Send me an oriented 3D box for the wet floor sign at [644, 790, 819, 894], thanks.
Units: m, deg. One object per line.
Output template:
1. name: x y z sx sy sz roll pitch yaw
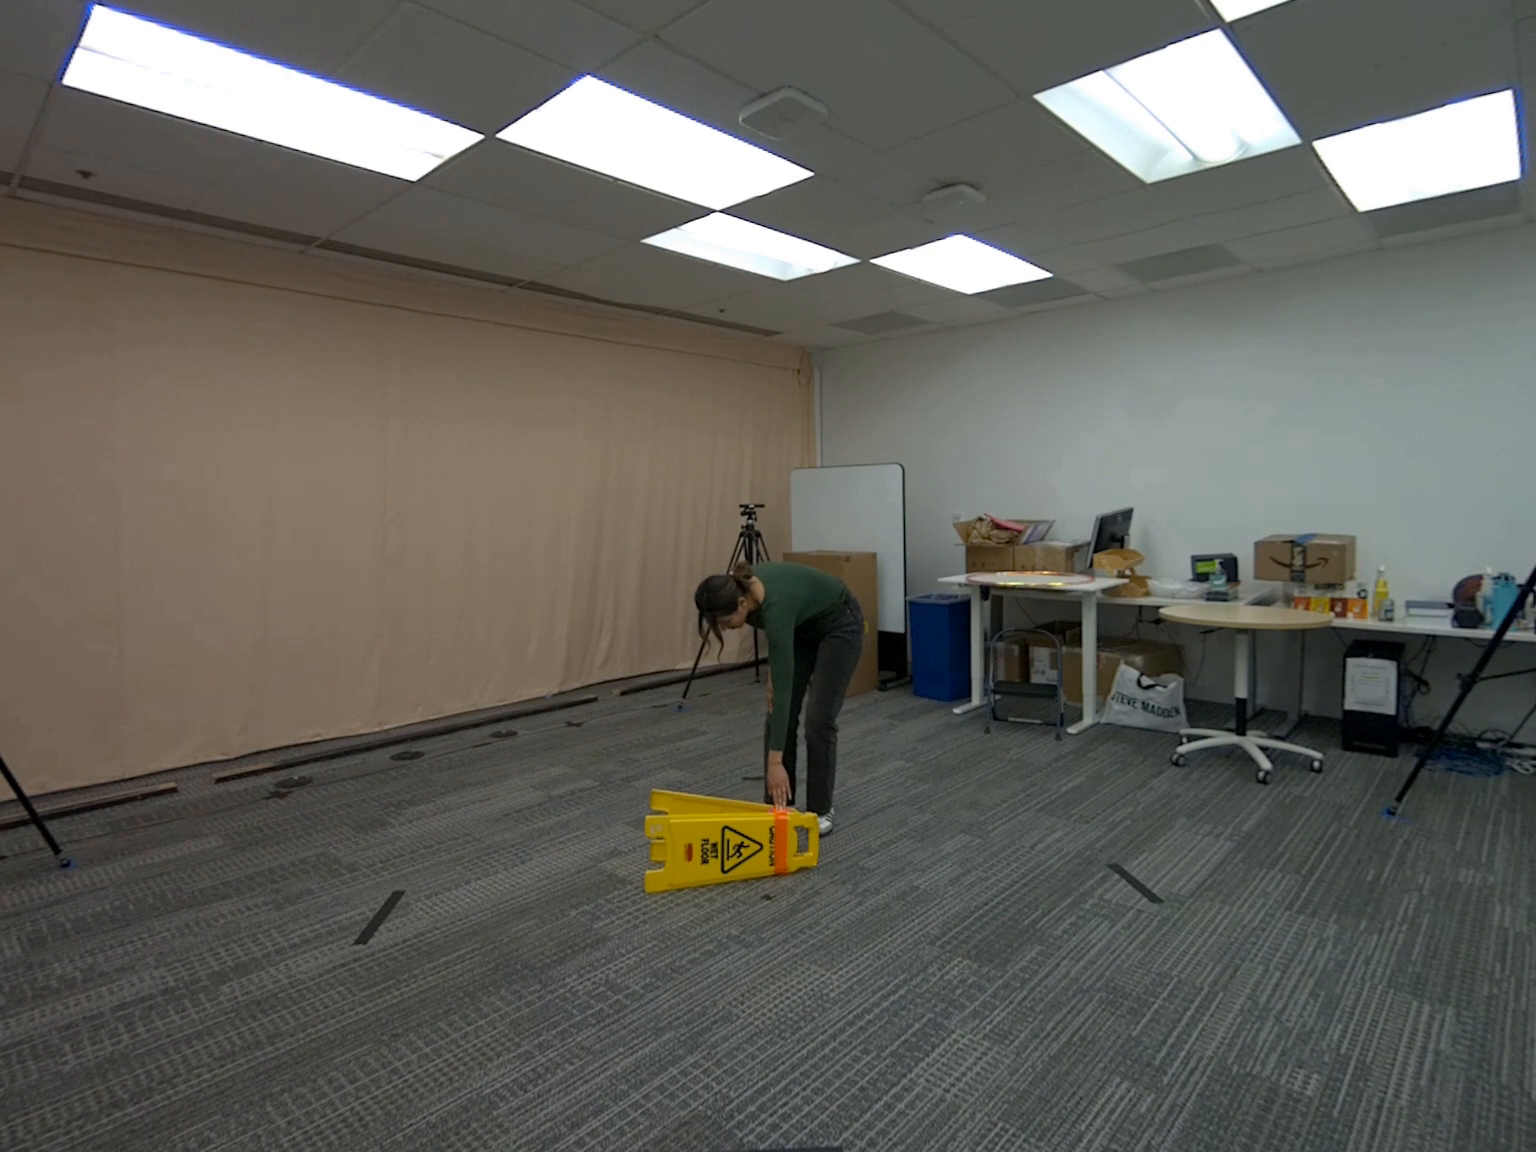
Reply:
1. wet floor sign: -0.128 0.990 3.181 0.645 0.282 0.291 1 4 -1
